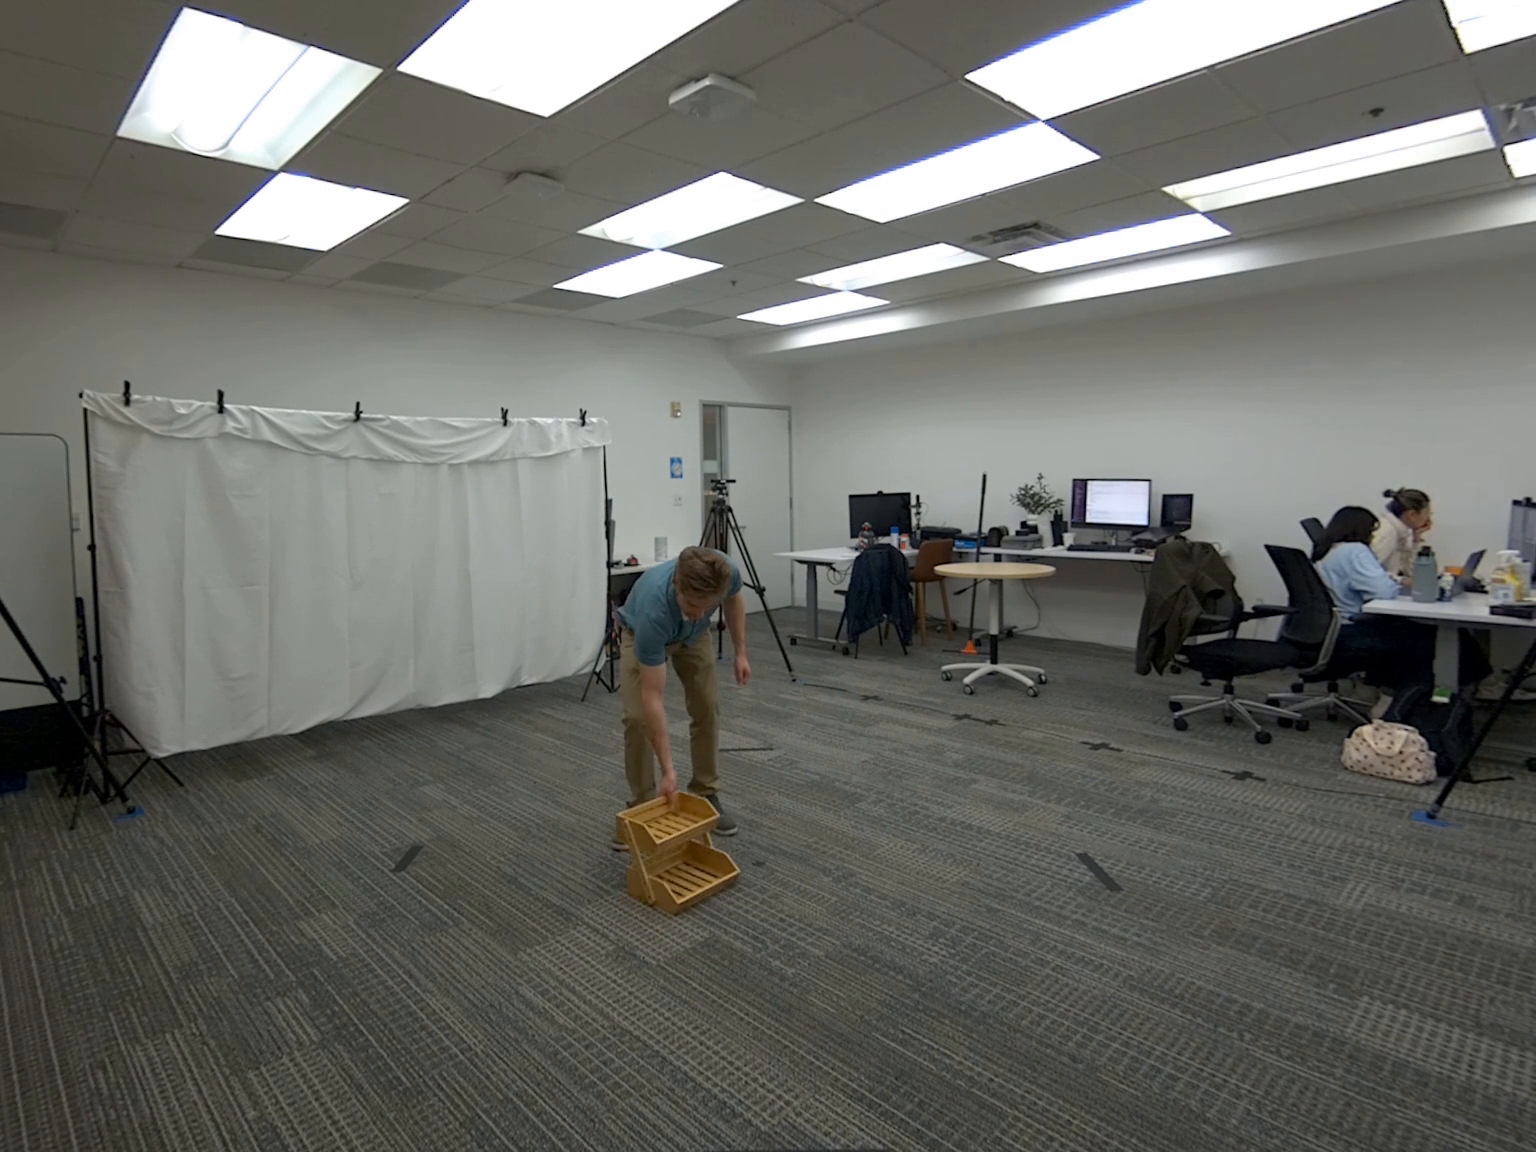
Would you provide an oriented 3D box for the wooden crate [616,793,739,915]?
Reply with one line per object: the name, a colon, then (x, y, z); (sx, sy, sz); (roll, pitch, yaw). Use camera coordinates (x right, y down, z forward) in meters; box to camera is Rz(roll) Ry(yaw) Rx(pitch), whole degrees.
wooden crate: (-0.307, 0.940, 2.934); (0.311, 0.272, 0.316); (3, 6, 41)
